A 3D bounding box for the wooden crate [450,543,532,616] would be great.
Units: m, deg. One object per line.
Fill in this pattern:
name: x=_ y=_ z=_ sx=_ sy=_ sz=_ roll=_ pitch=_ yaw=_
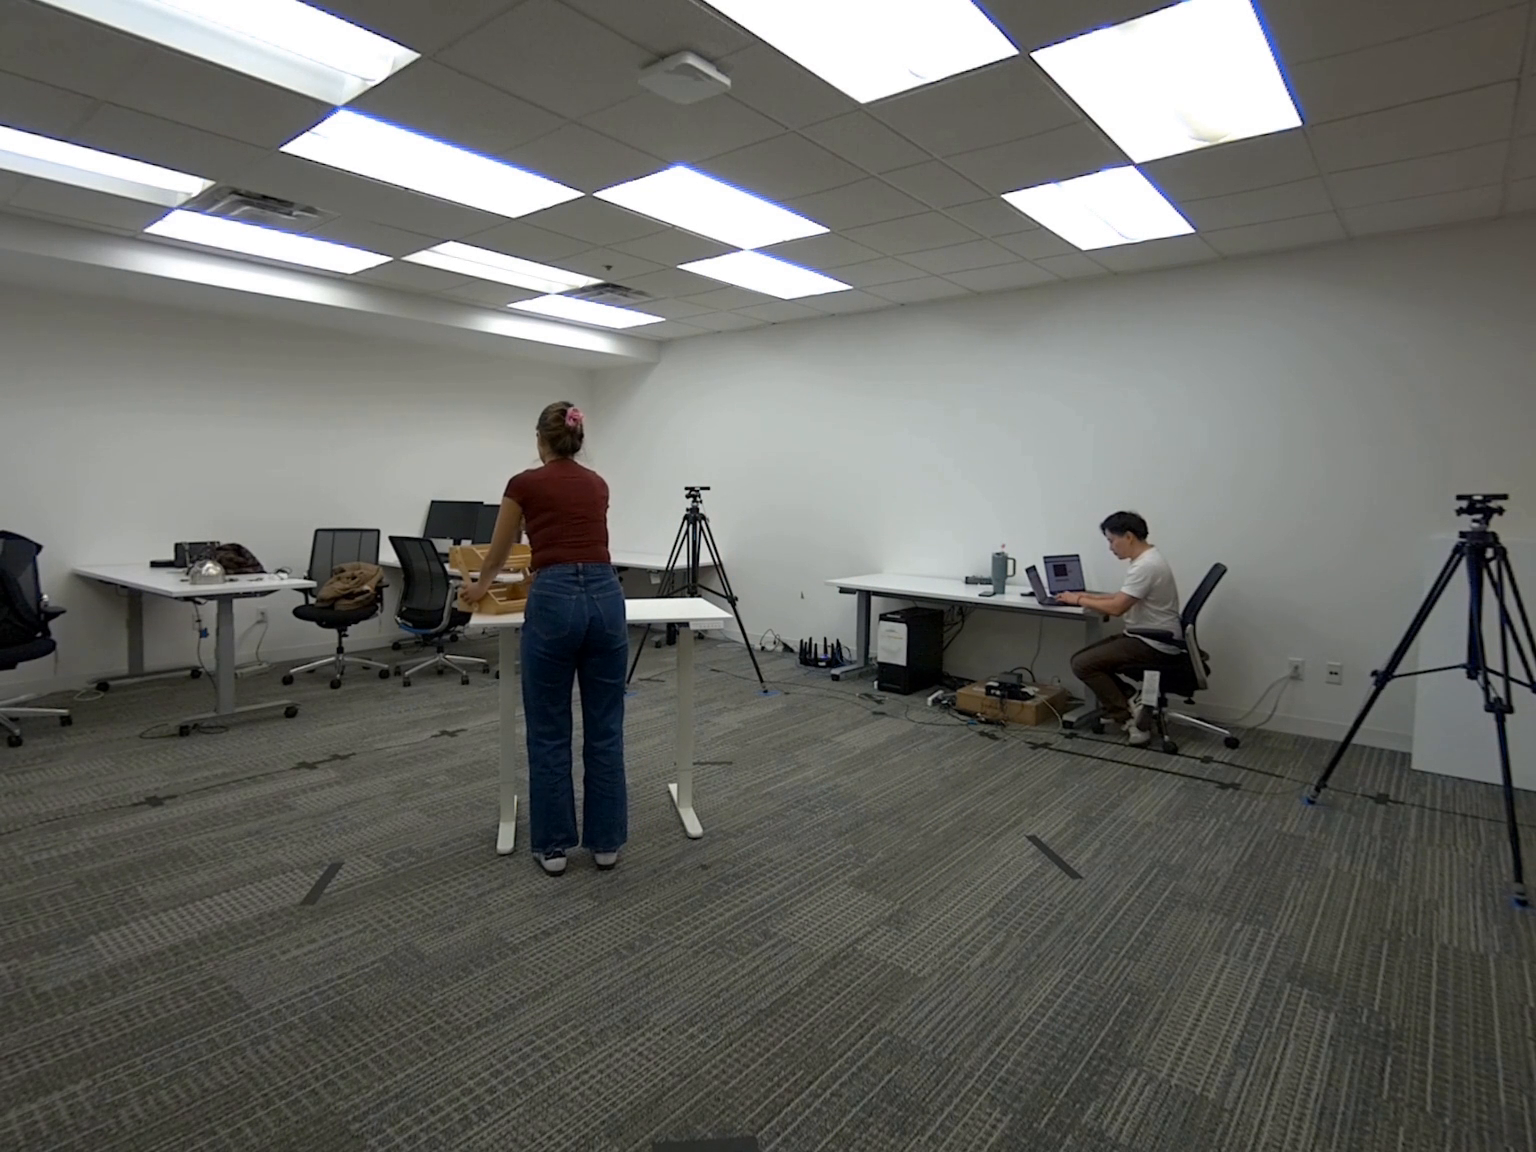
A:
wooden crate: x=-1.113 y=0.000 z=3.524 sx=0.311 sy=0.272 sz=0.315 roll=2 pitch=4 yaw=34
